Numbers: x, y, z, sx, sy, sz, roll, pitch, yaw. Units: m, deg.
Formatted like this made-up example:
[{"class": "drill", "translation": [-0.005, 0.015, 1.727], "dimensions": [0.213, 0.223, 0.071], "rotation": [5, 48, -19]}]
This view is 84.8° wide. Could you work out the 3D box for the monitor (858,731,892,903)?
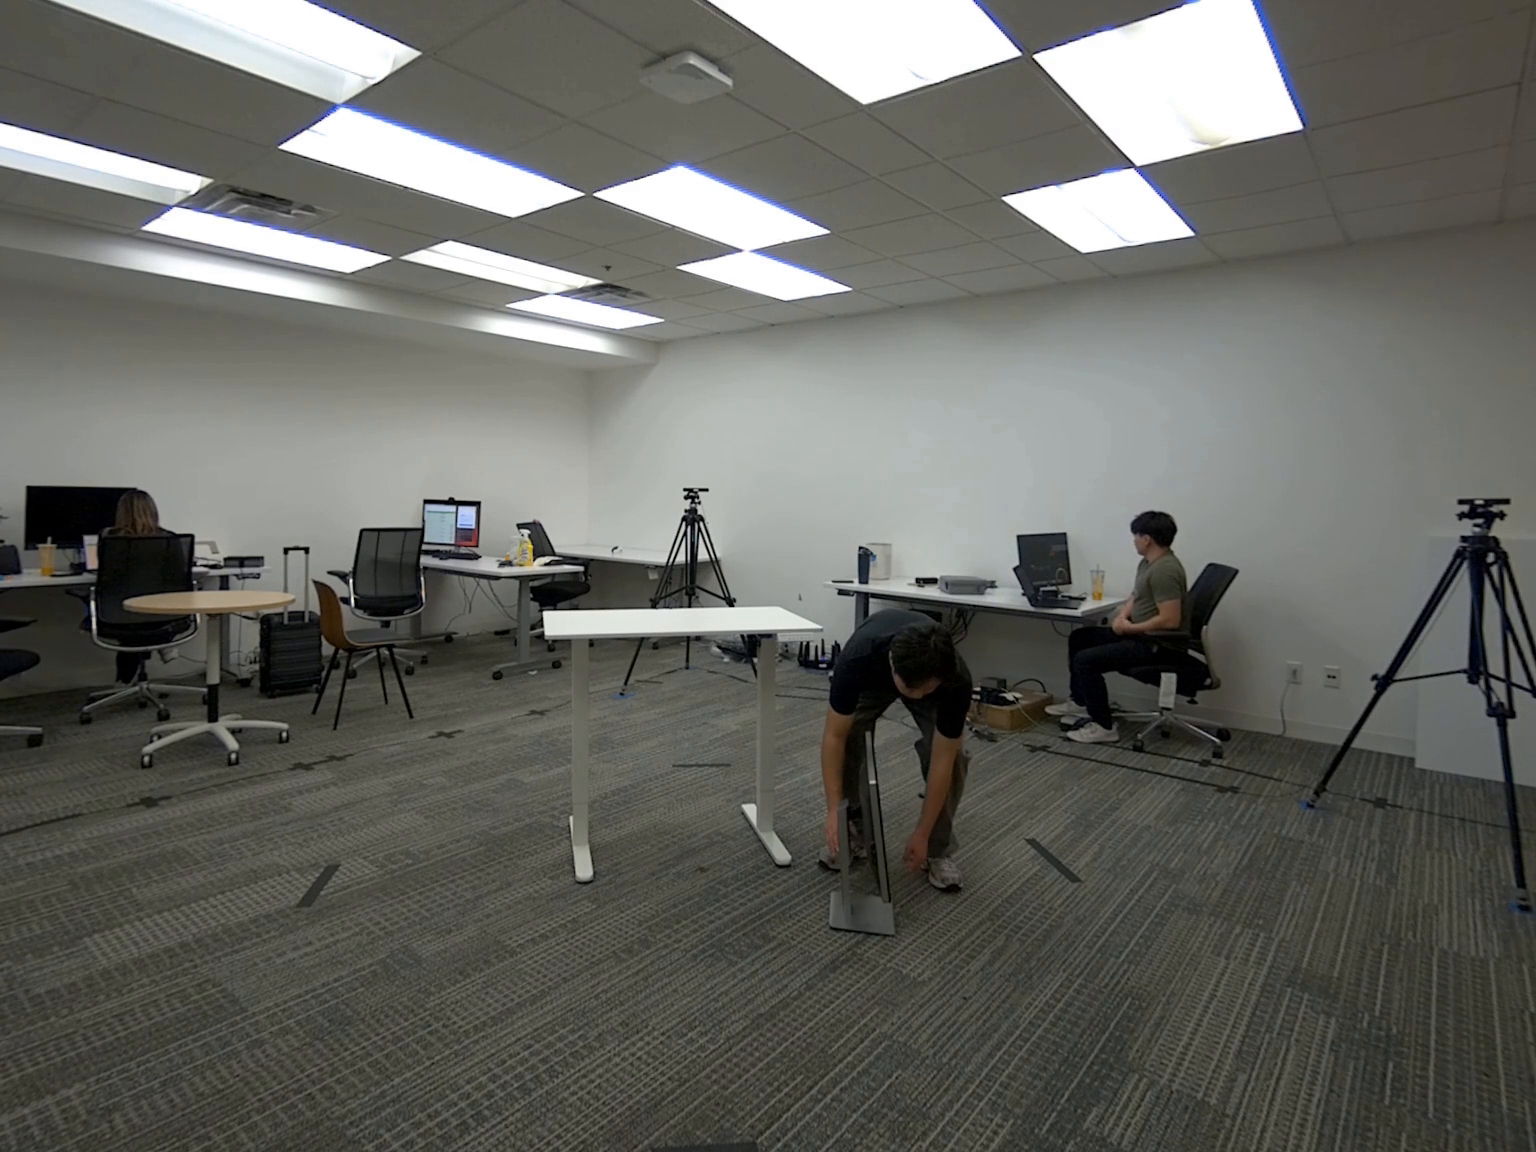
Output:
[{"class": "monitor", "translation": [0.320, 0.855, 2.789], "dimensions": [0.224, 0.563, 0.559], "rotation": [6, 6, 7]}]
